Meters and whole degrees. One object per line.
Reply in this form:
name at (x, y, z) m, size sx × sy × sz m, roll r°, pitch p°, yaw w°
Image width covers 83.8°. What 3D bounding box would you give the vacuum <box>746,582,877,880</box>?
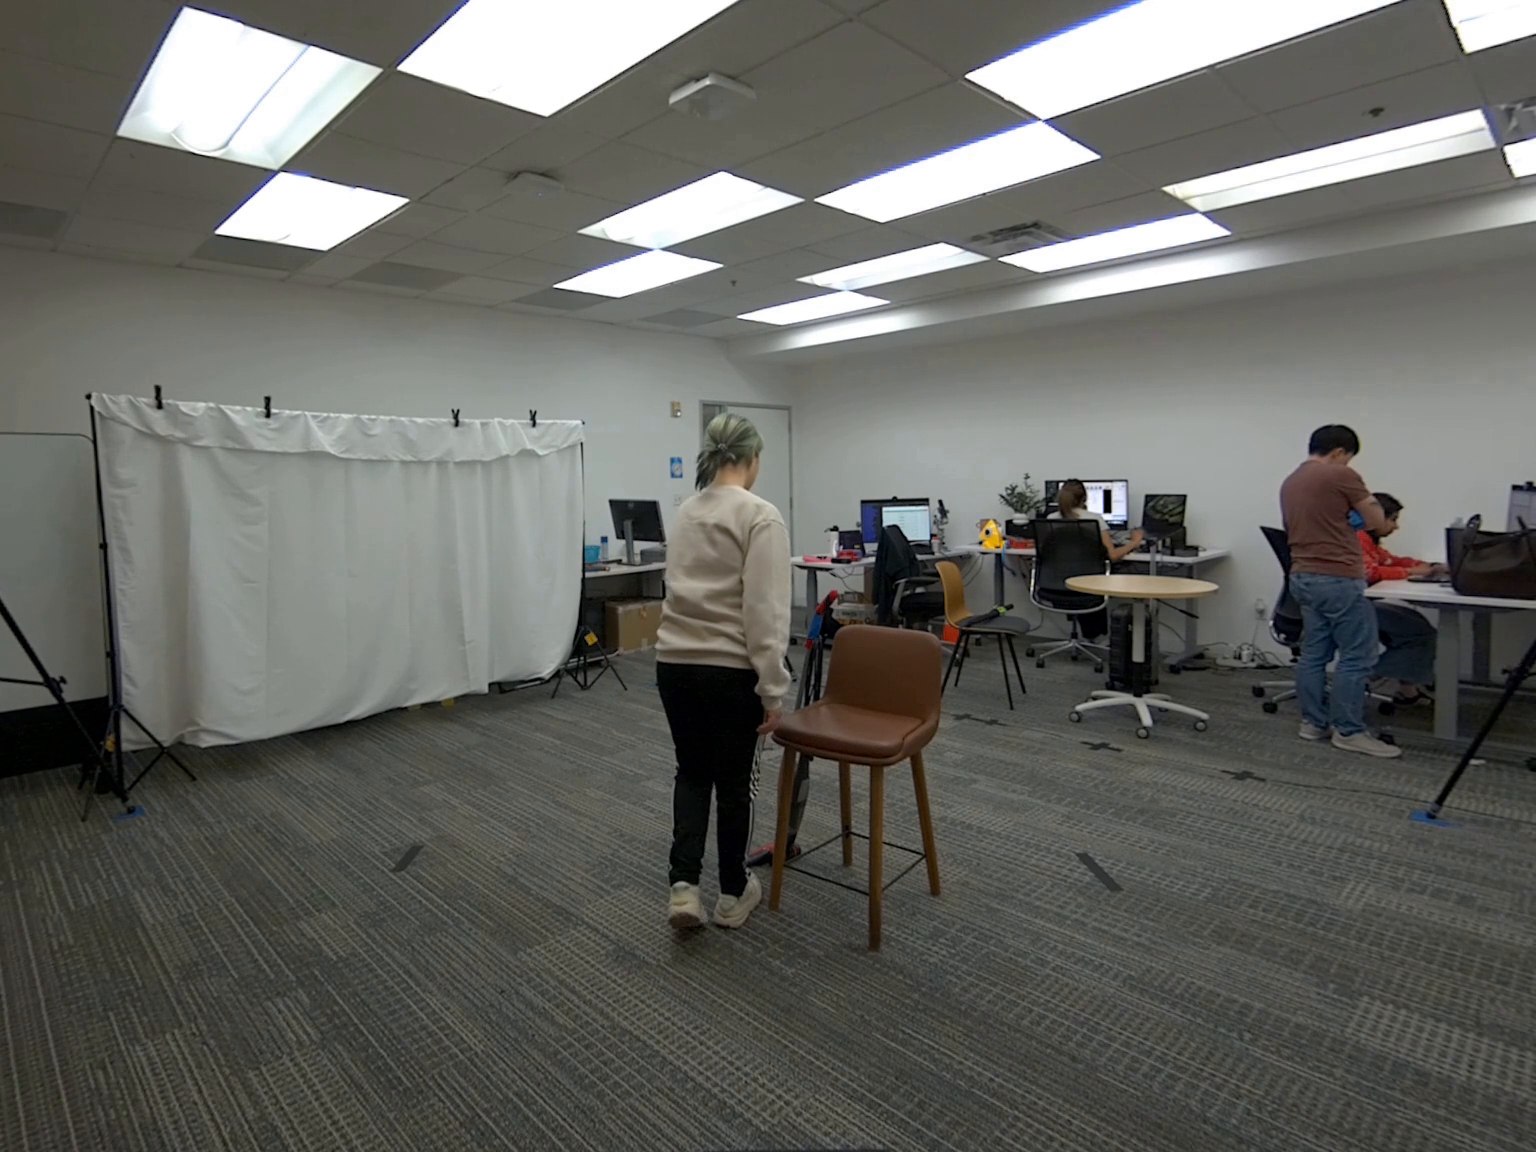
vacuum at (0.132, 0.546, 3.028) m, size 0.245 × 1.038 × 0.149 m, roll -1°, pitch 19°, yaw -39°
